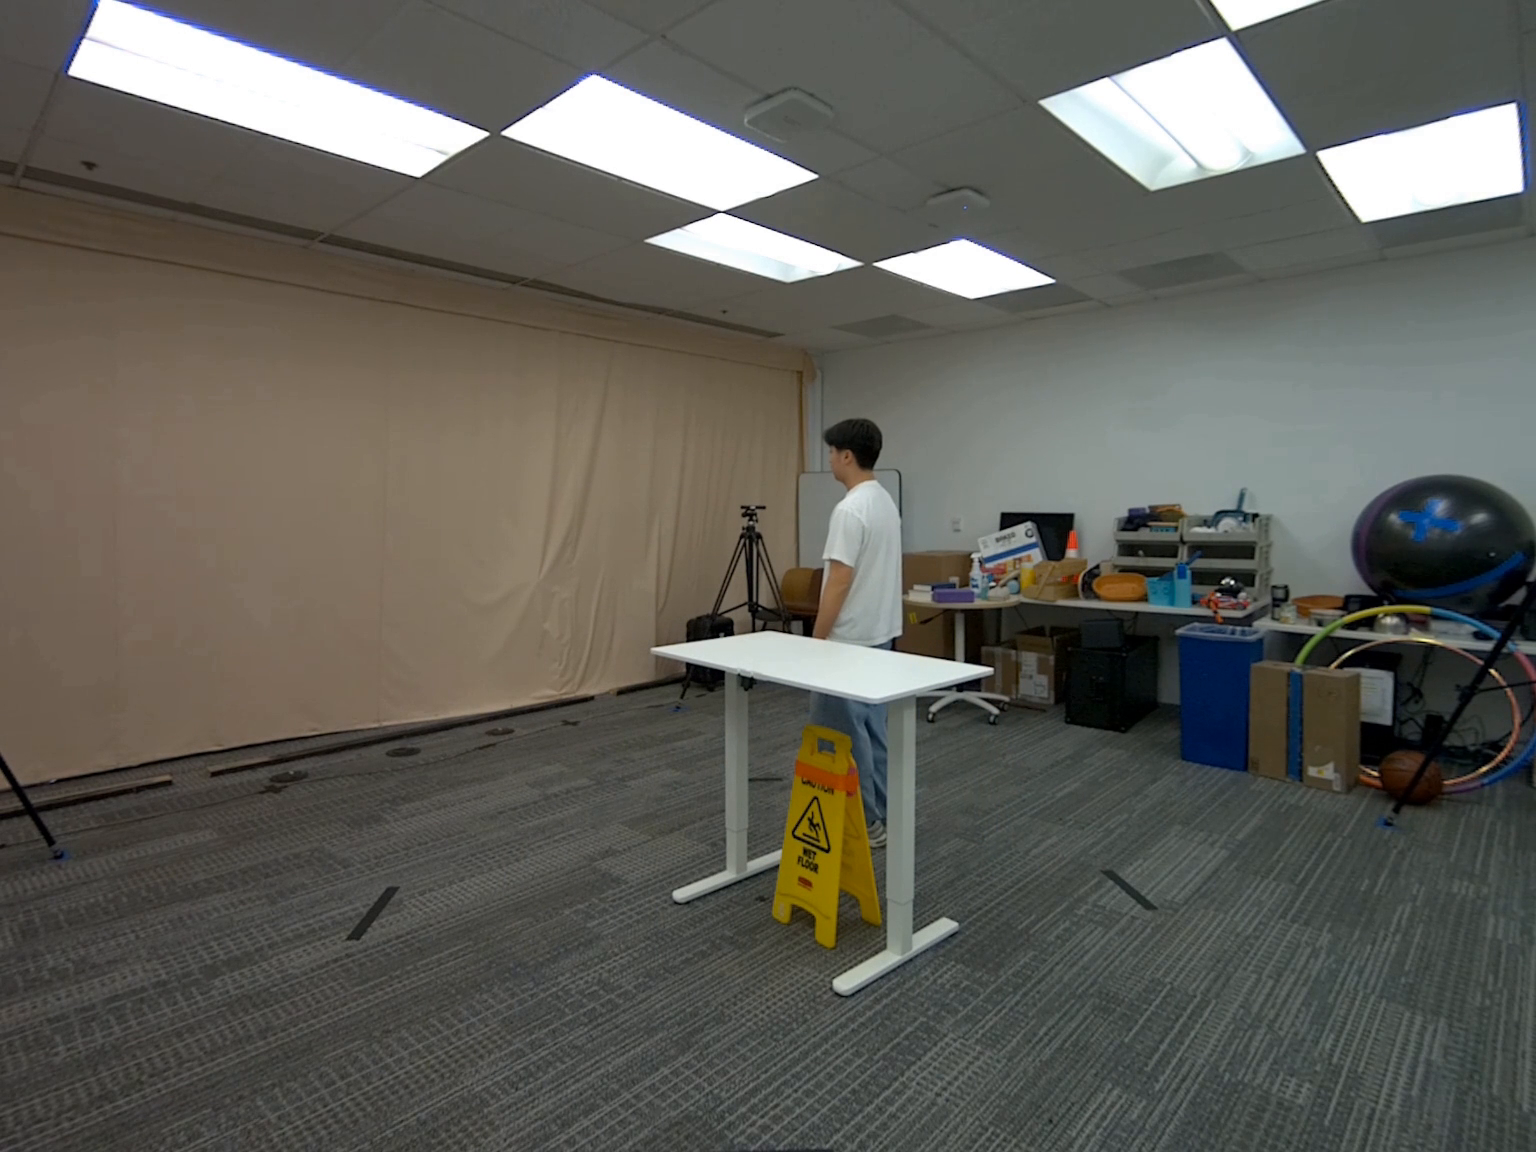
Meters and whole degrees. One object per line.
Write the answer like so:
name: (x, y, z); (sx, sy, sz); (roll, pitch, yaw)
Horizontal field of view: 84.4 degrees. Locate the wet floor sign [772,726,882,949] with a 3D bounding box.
wet floor sign: (0.198, 0.831, 2.804); (0.281, 0.645, 0.291); (-3, 4, -41)
